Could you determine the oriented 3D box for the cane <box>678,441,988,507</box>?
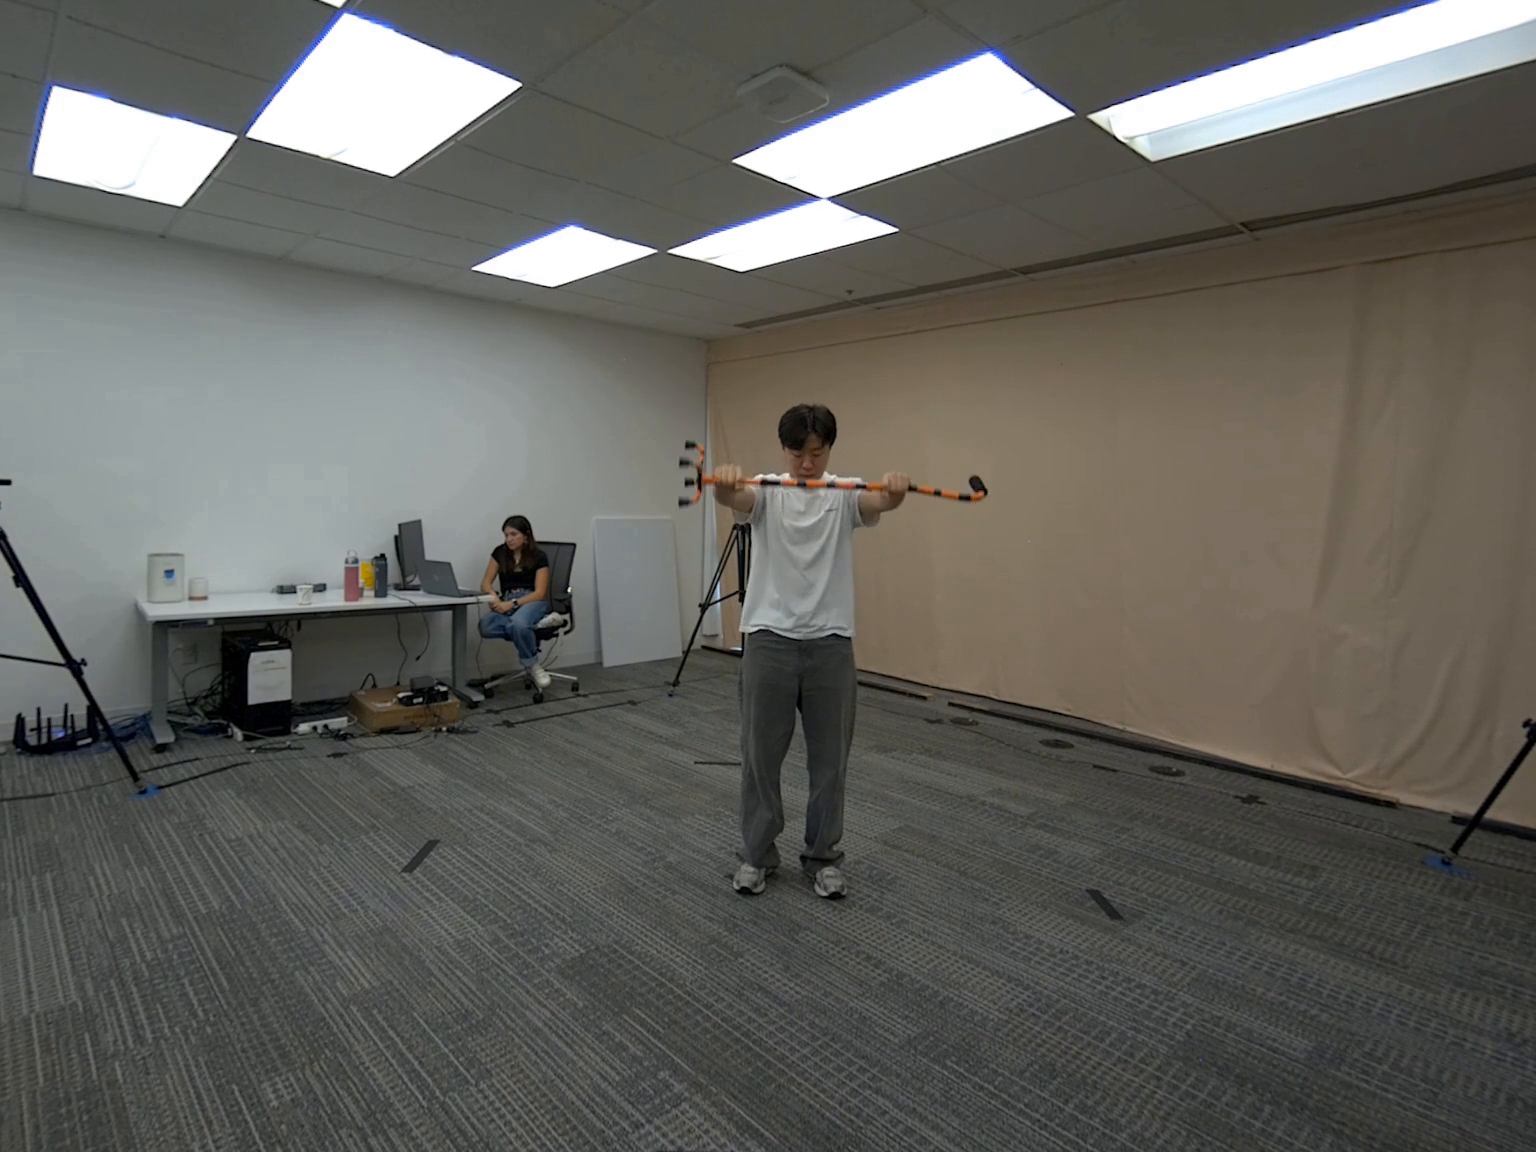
[{"bbox_3d":[0.187,-0.286,2.504,0.911,0.149,0.209,3,24,4],"label":"cane"}]
